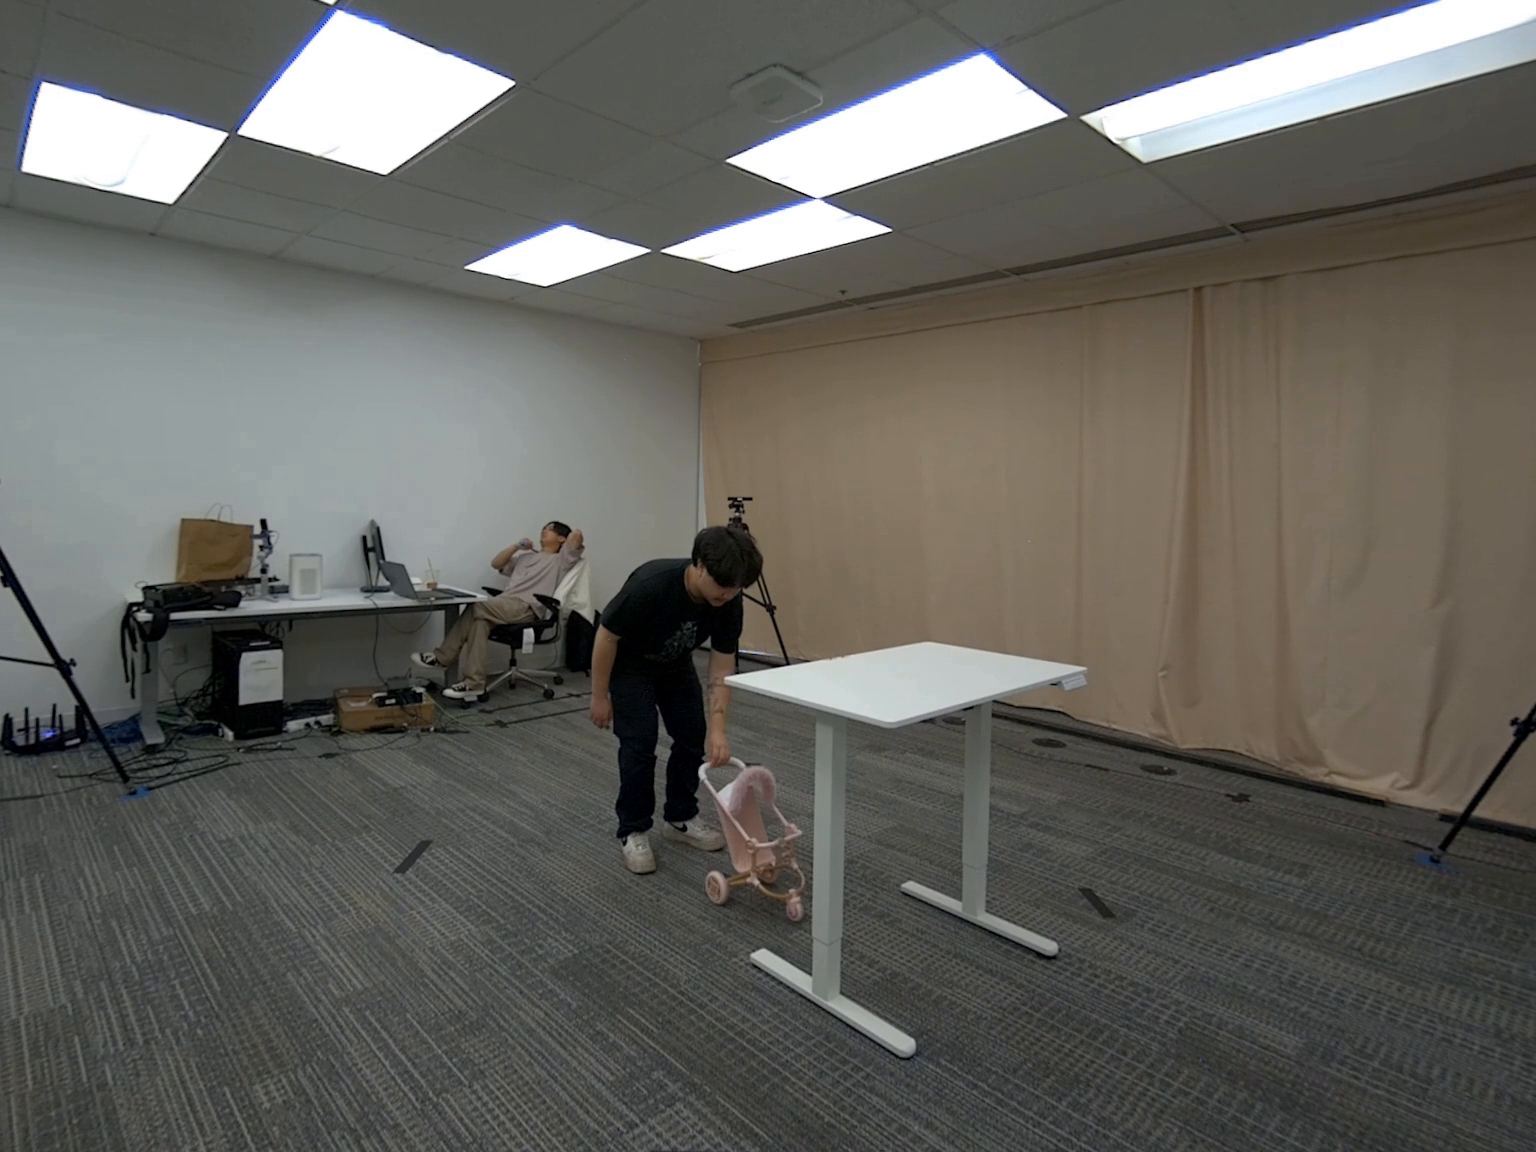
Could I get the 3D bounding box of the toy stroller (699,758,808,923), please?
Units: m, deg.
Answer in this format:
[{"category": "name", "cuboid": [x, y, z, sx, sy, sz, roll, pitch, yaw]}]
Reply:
[{"category": "toy stroller", "cuboid": [-0.044, 0.902, 2.914, 0.275, 0.539, 0.346, -2, -11, -39]}]
